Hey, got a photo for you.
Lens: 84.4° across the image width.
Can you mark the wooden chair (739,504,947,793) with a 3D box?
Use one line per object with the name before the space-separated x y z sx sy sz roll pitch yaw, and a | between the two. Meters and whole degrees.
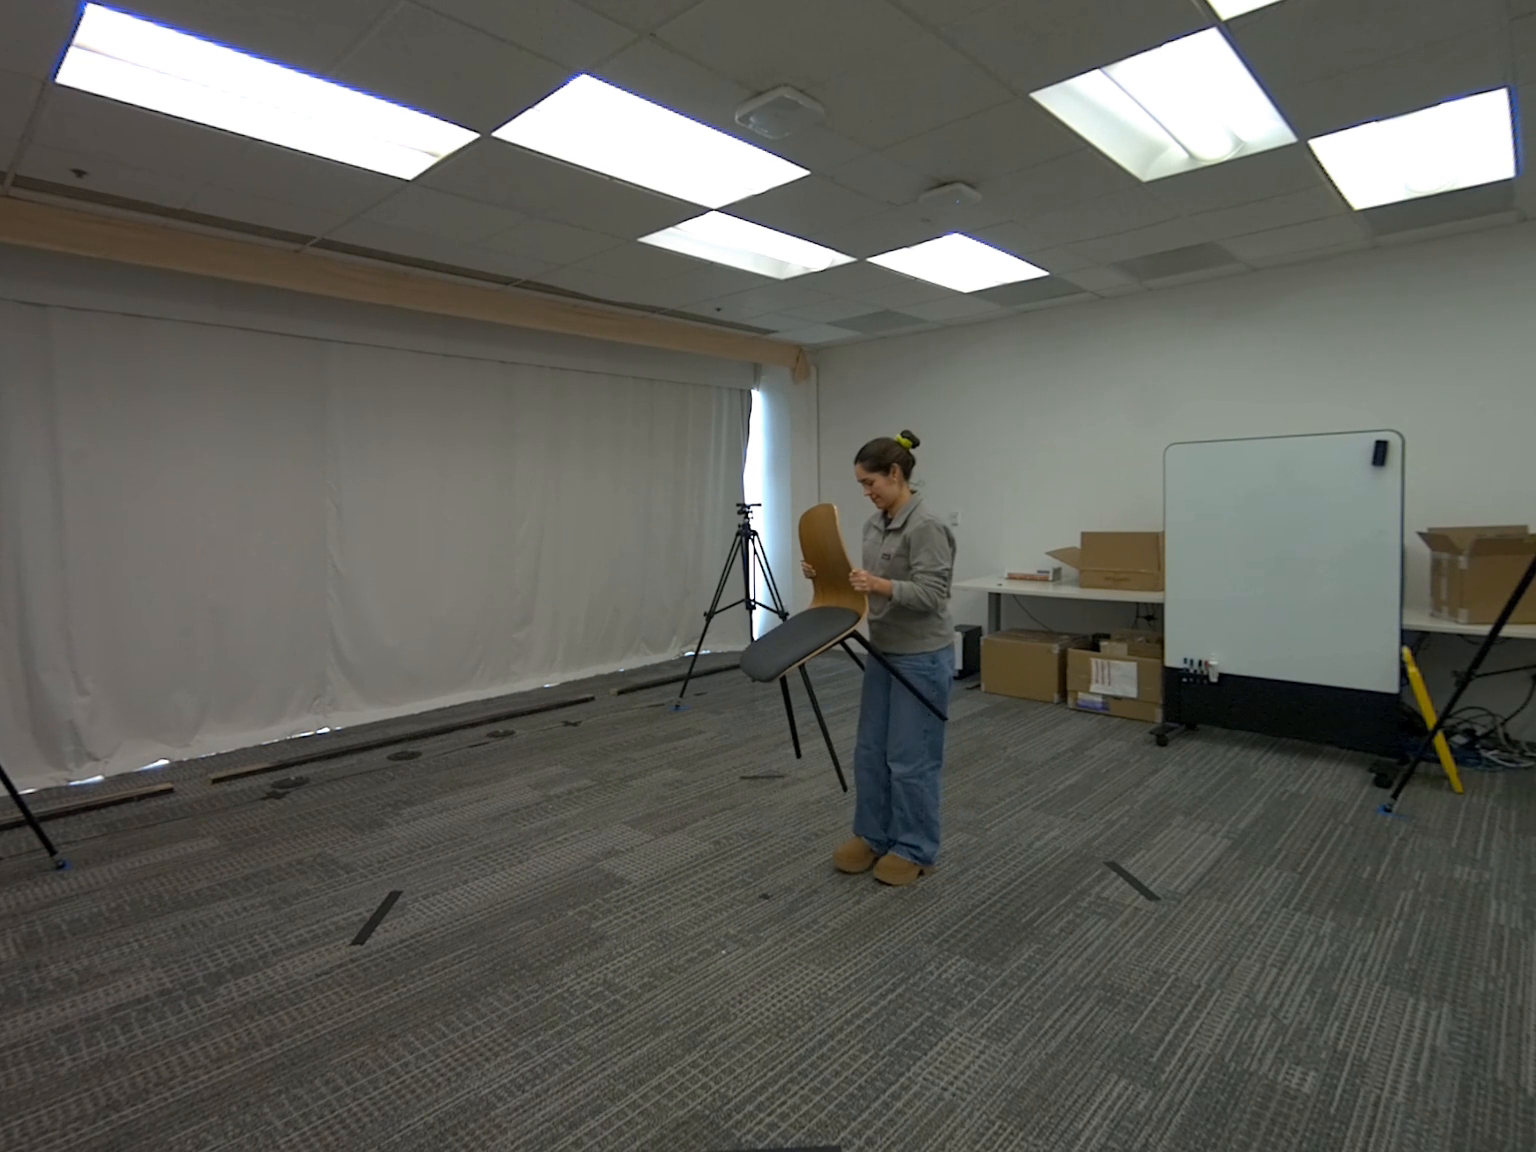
wooden chair | 0.169 0.249 3.039 0.518 0.870 0.487 -26 8 -15
